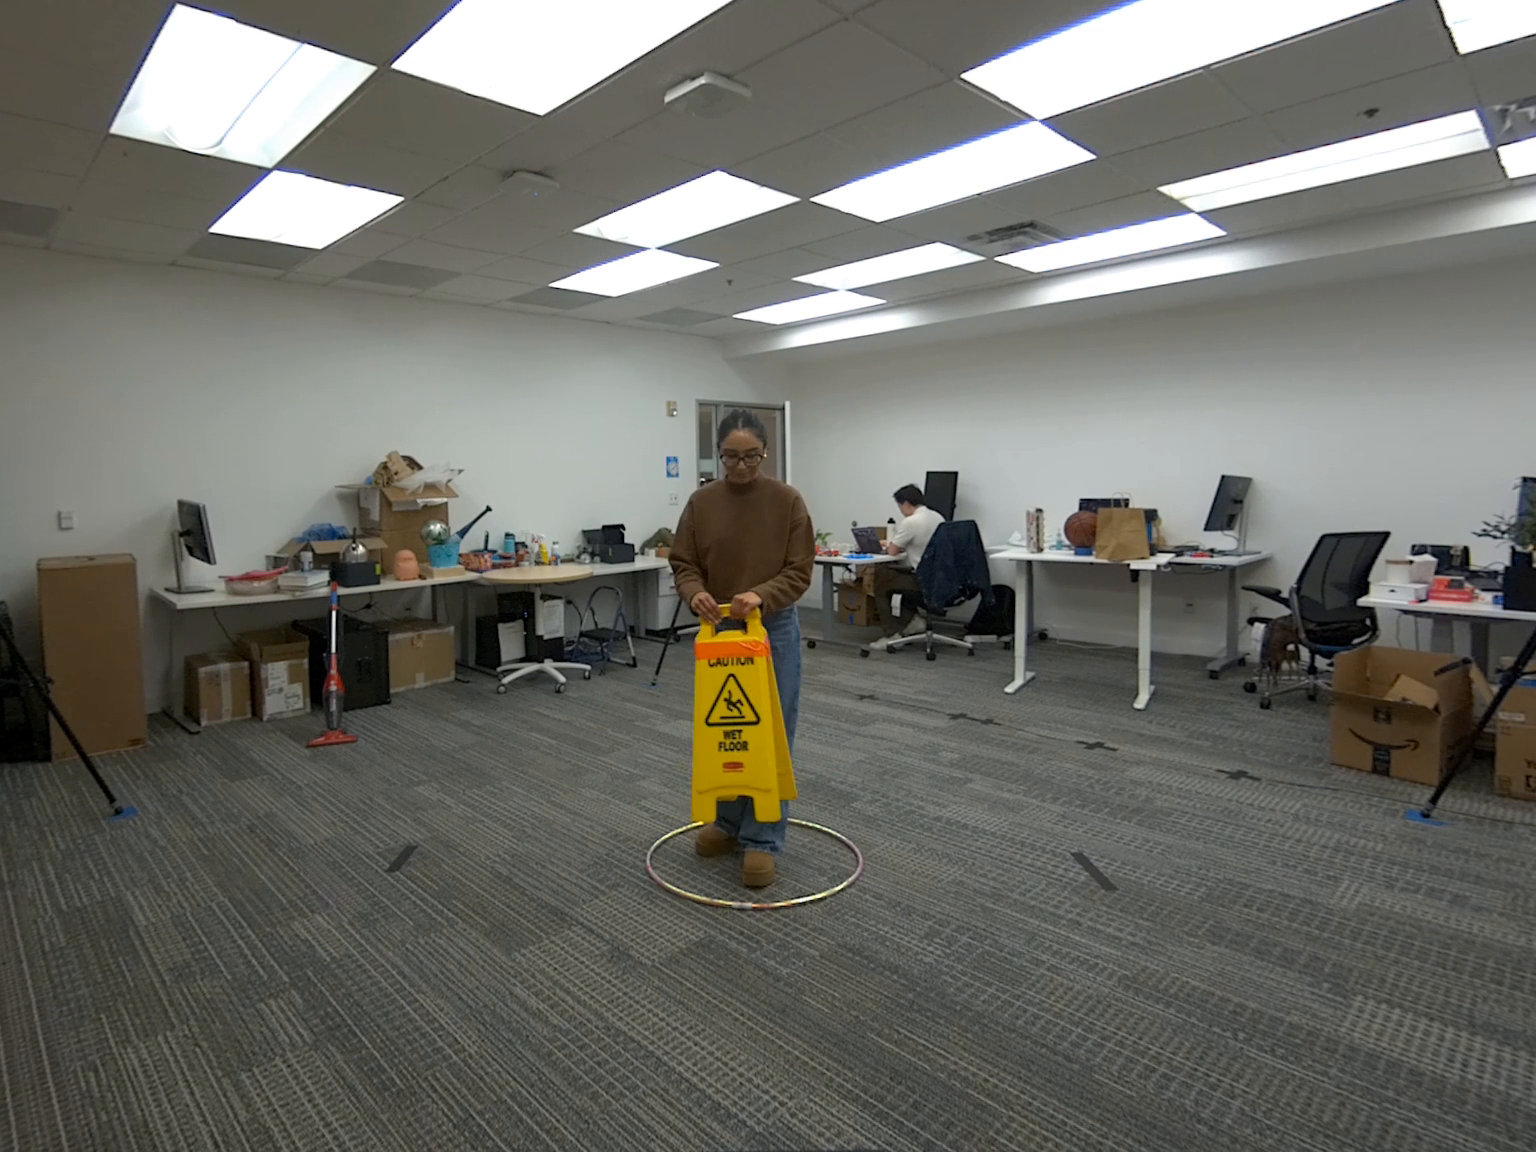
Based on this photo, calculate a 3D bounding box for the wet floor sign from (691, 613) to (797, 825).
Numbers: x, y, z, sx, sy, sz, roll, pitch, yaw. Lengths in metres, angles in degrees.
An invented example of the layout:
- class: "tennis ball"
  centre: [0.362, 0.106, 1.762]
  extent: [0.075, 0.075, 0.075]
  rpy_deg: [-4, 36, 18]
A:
- class: "wet floor sign"
  centre: [-0.099, 0.420, 2.722]
  extent: [0.286, 0.649, 0.285]
  rpy_deg: [-7, -4, 14]
